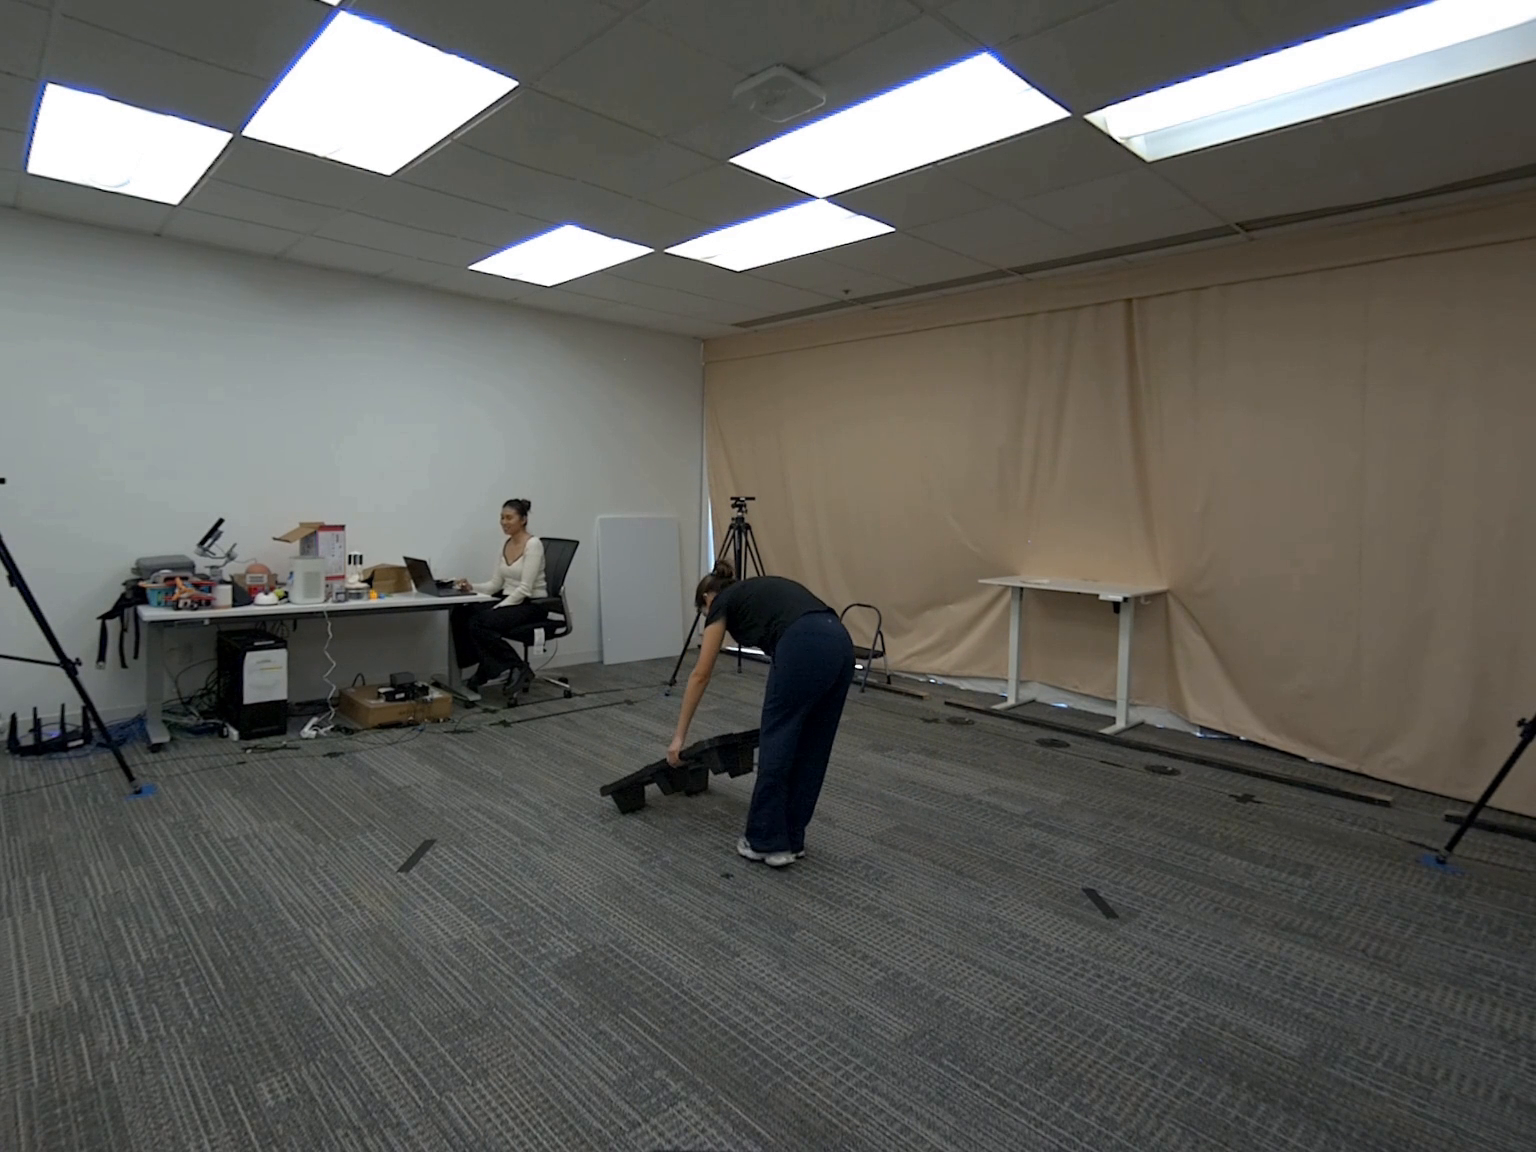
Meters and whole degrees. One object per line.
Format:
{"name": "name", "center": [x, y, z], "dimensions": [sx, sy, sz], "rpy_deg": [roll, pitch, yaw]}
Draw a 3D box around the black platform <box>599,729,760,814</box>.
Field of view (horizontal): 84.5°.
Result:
{"name": "black platform", "center": [-0.274, 0.827, 3.610], "dimensions": [0.591, 0.145, 0.811], "rpy_deg": [-4, -22, -45]}
